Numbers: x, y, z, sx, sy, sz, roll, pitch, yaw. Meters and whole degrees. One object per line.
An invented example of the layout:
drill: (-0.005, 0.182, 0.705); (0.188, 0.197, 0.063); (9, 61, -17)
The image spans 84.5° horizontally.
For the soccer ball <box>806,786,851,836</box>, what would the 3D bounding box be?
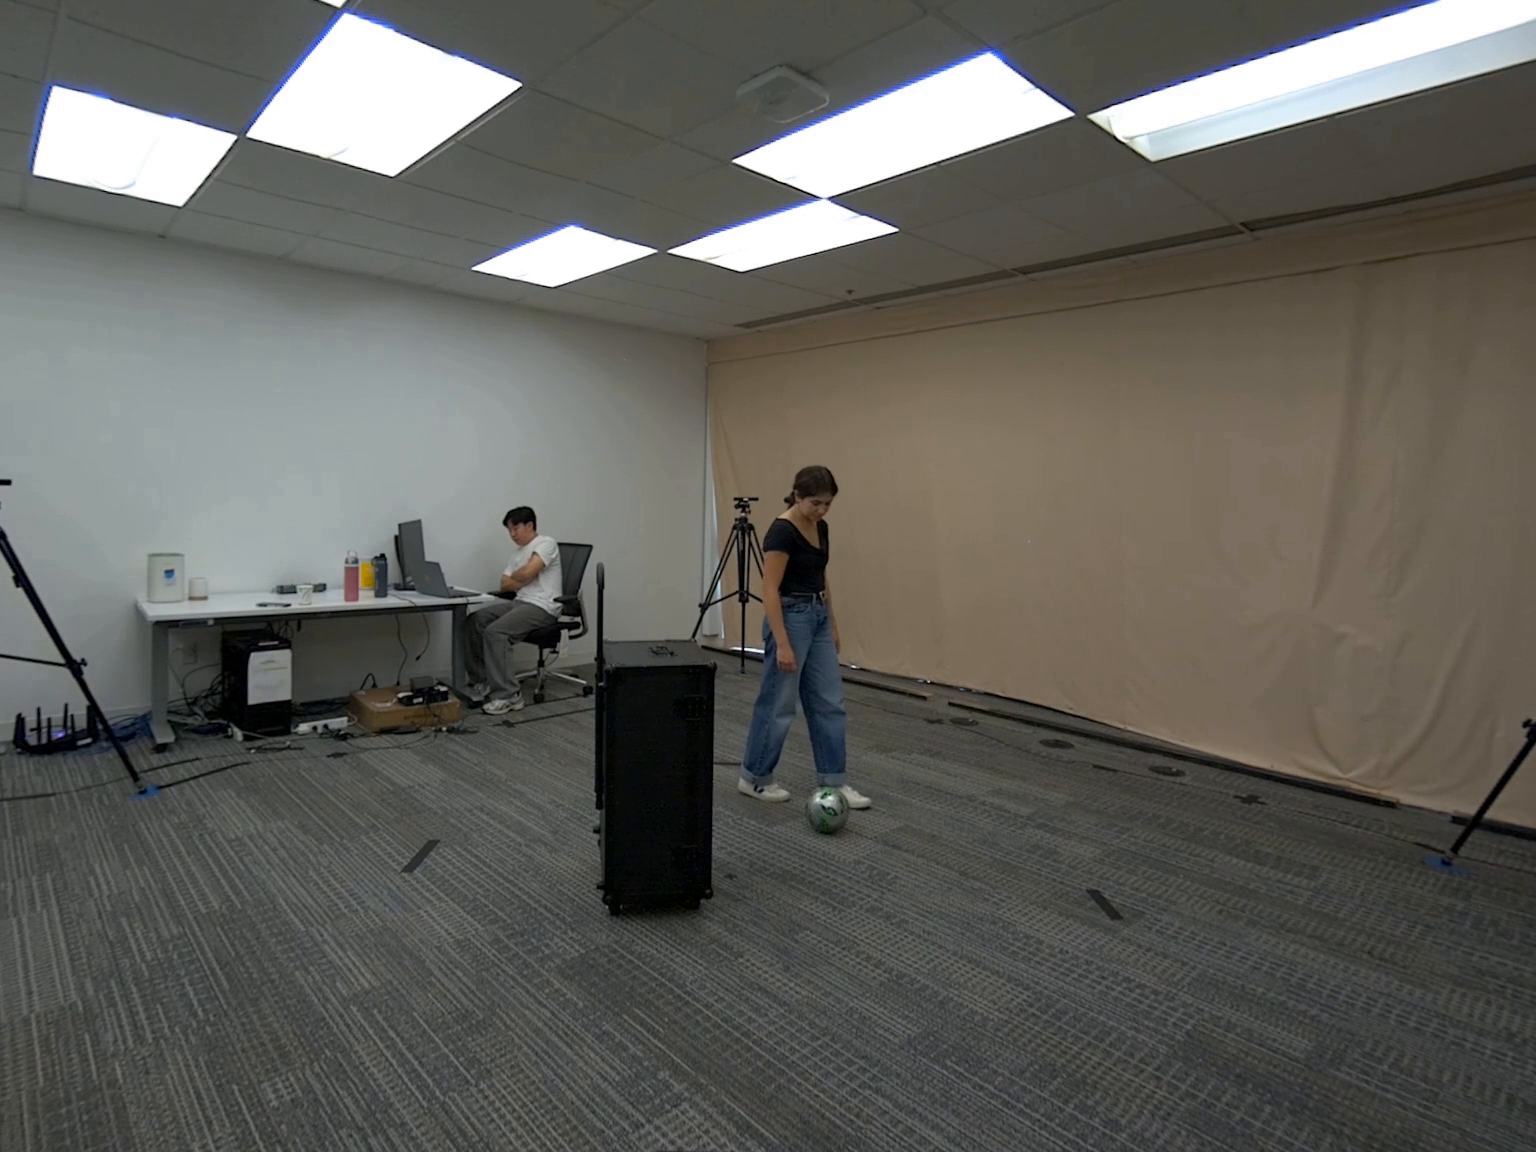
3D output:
soccer ball: (0.241, 0.991, 3.549); (0.187, 0.187, 0.188); (1, 4, -1)
